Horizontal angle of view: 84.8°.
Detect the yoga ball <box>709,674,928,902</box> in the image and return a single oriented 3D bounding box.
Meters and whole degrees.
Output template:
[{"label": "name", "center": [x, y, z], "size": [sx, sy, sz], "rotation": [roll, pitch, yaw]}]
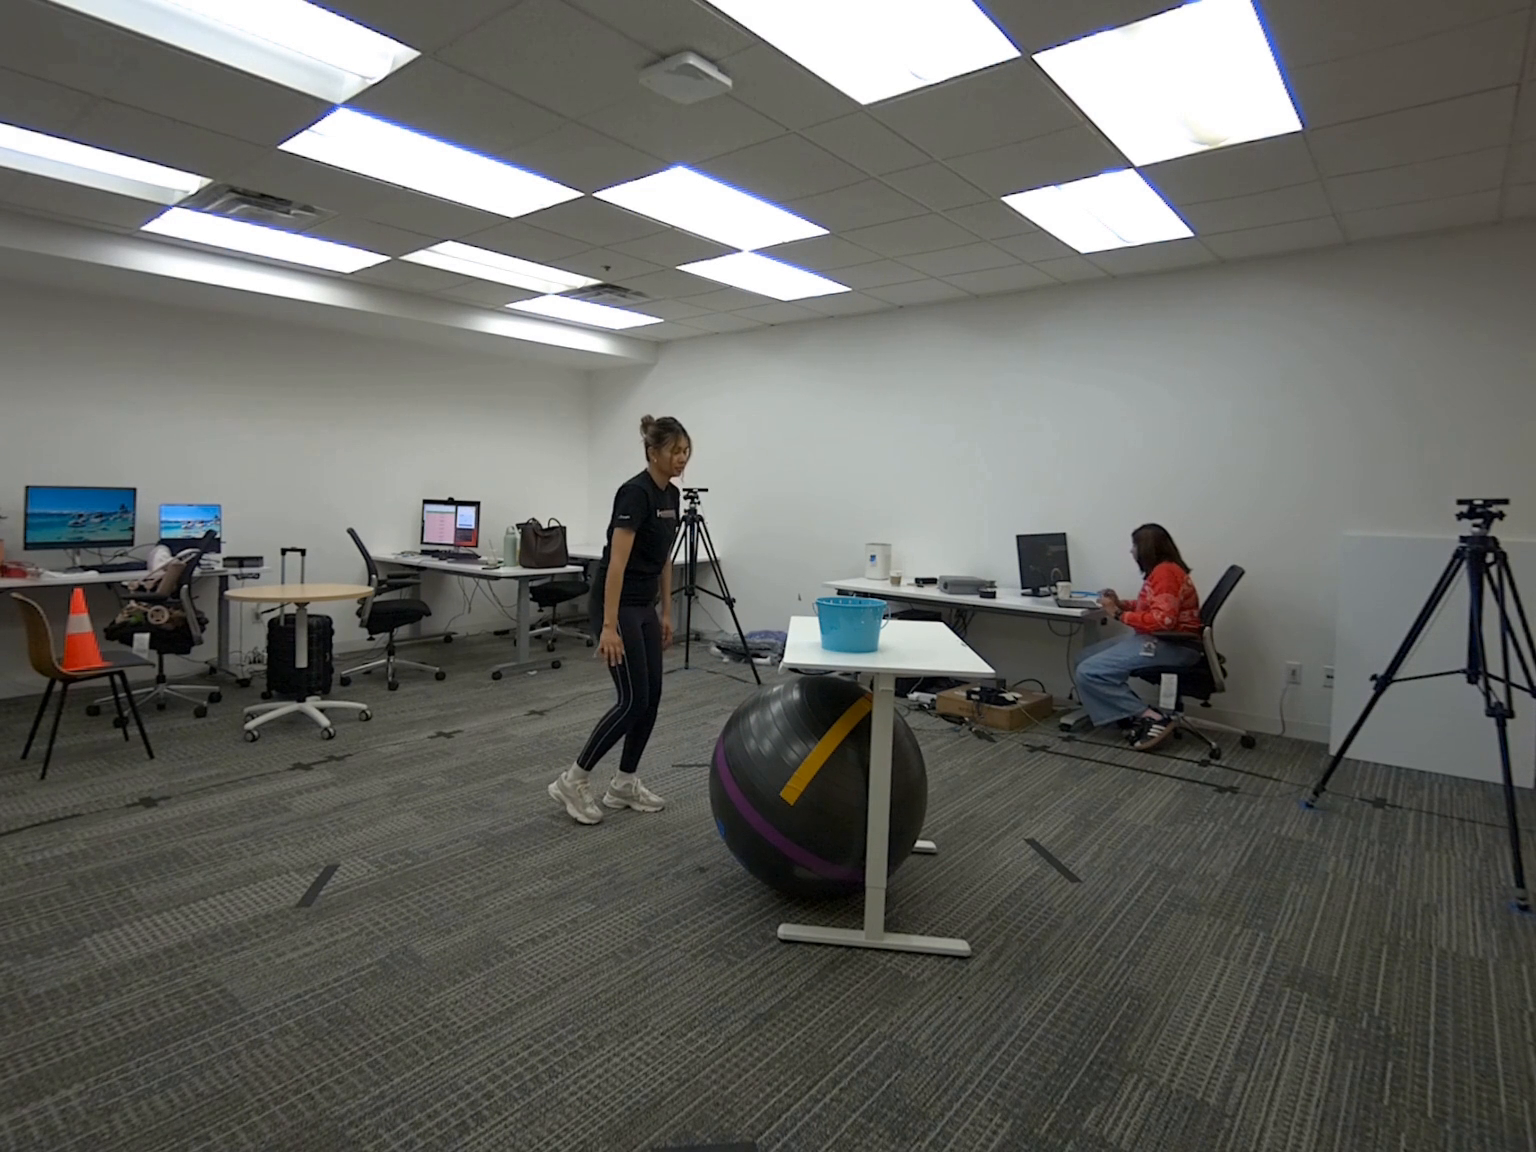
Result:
[{"label": "yoga ball", "center": [0.174, 0.740, 2.974], "size": [0.757, 0.756, 0.762], "rotation": [1, 4, -2]}]
